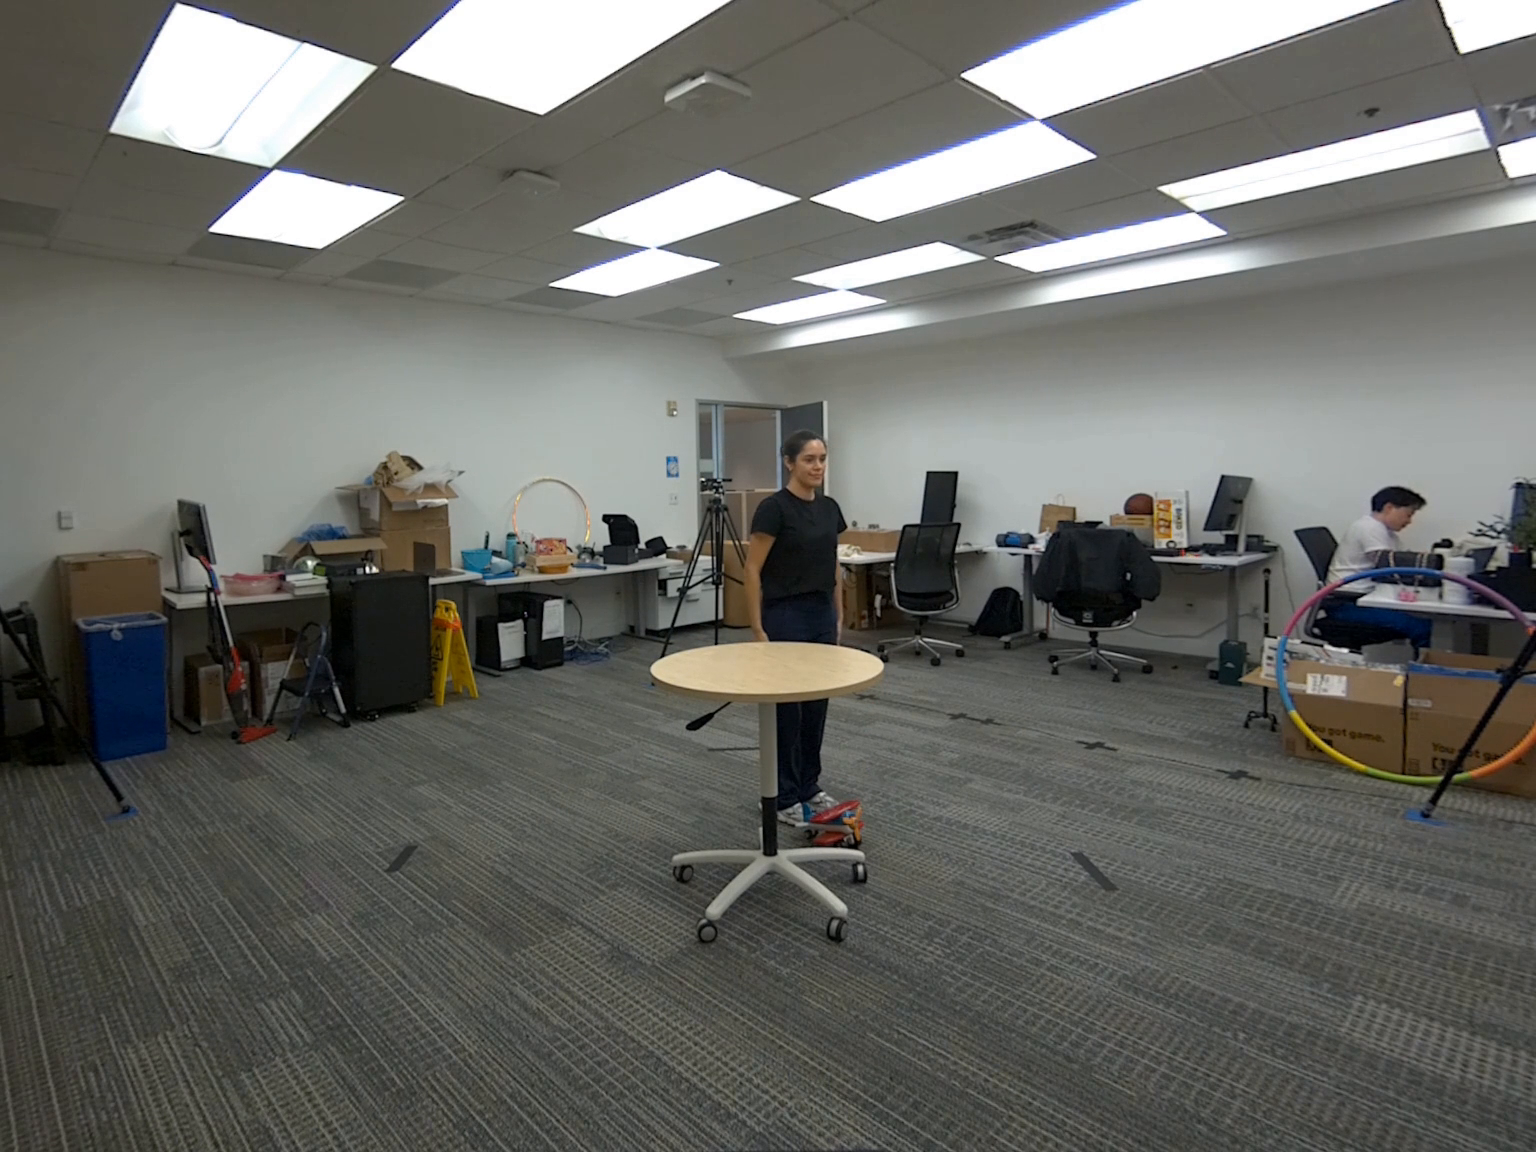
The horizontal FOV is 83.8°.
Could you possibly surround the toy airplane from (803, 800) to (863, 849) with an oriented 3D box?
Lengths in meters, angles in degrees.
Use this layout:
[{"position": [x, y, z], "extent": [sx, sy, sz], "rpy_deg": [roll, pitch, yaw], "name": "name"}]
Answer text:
[{"position": [0.222, 0.951, 3.257], "extent": [0.263, 0.156, 0.248], "rpy_deg": [1, 6, 15], "name": "toy airplane"}]
